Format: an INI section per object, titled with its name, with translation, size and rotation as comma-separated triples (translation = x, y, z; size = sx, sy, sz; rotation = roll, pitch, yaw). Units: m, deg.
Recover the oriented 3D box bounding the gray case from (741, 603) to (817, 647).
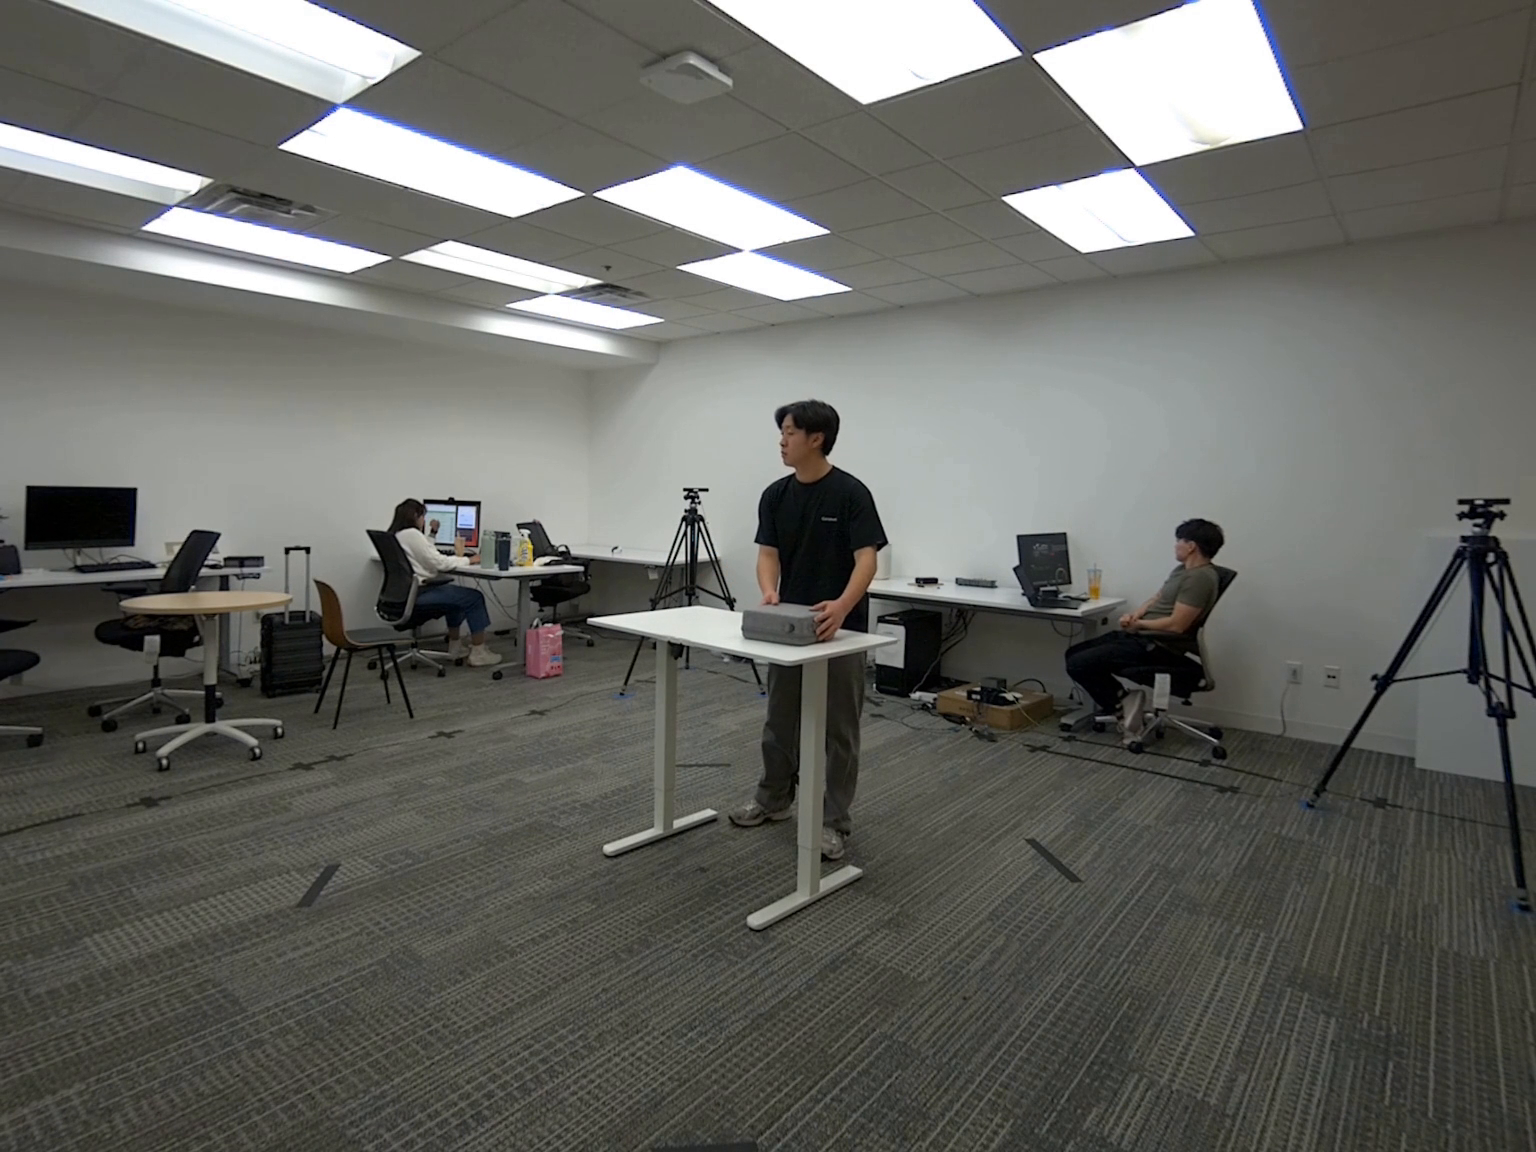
[gray case]
translation = 0.071, 0.162, 2.916
size = 0.297, 0.103, 0.255
rotation = 6, 6, 36
